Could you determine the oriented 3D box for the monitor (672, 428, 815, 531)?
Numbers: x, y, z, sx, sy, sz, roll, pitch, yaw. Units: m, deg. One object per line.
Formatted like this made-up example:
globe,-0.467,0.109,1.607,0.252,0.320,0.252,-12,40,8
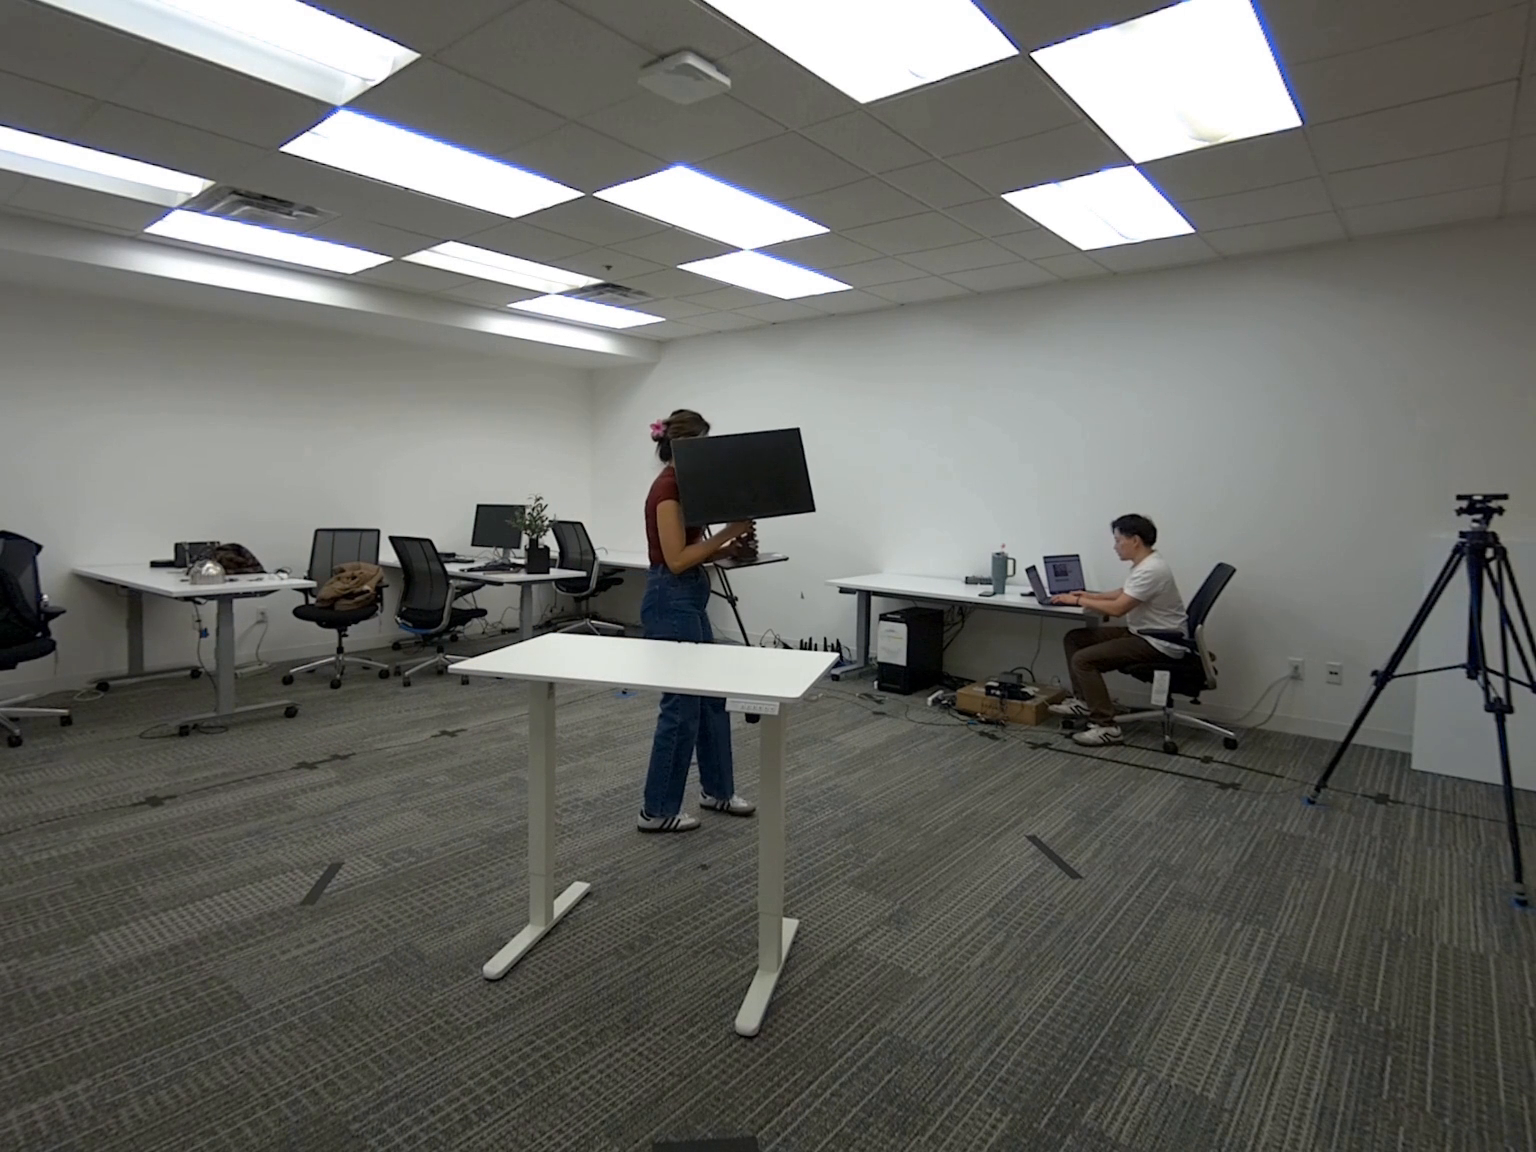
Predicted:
monitor,-0.101,-0.306,3.381,0.531,0.521,0.190,-8,3,-16
